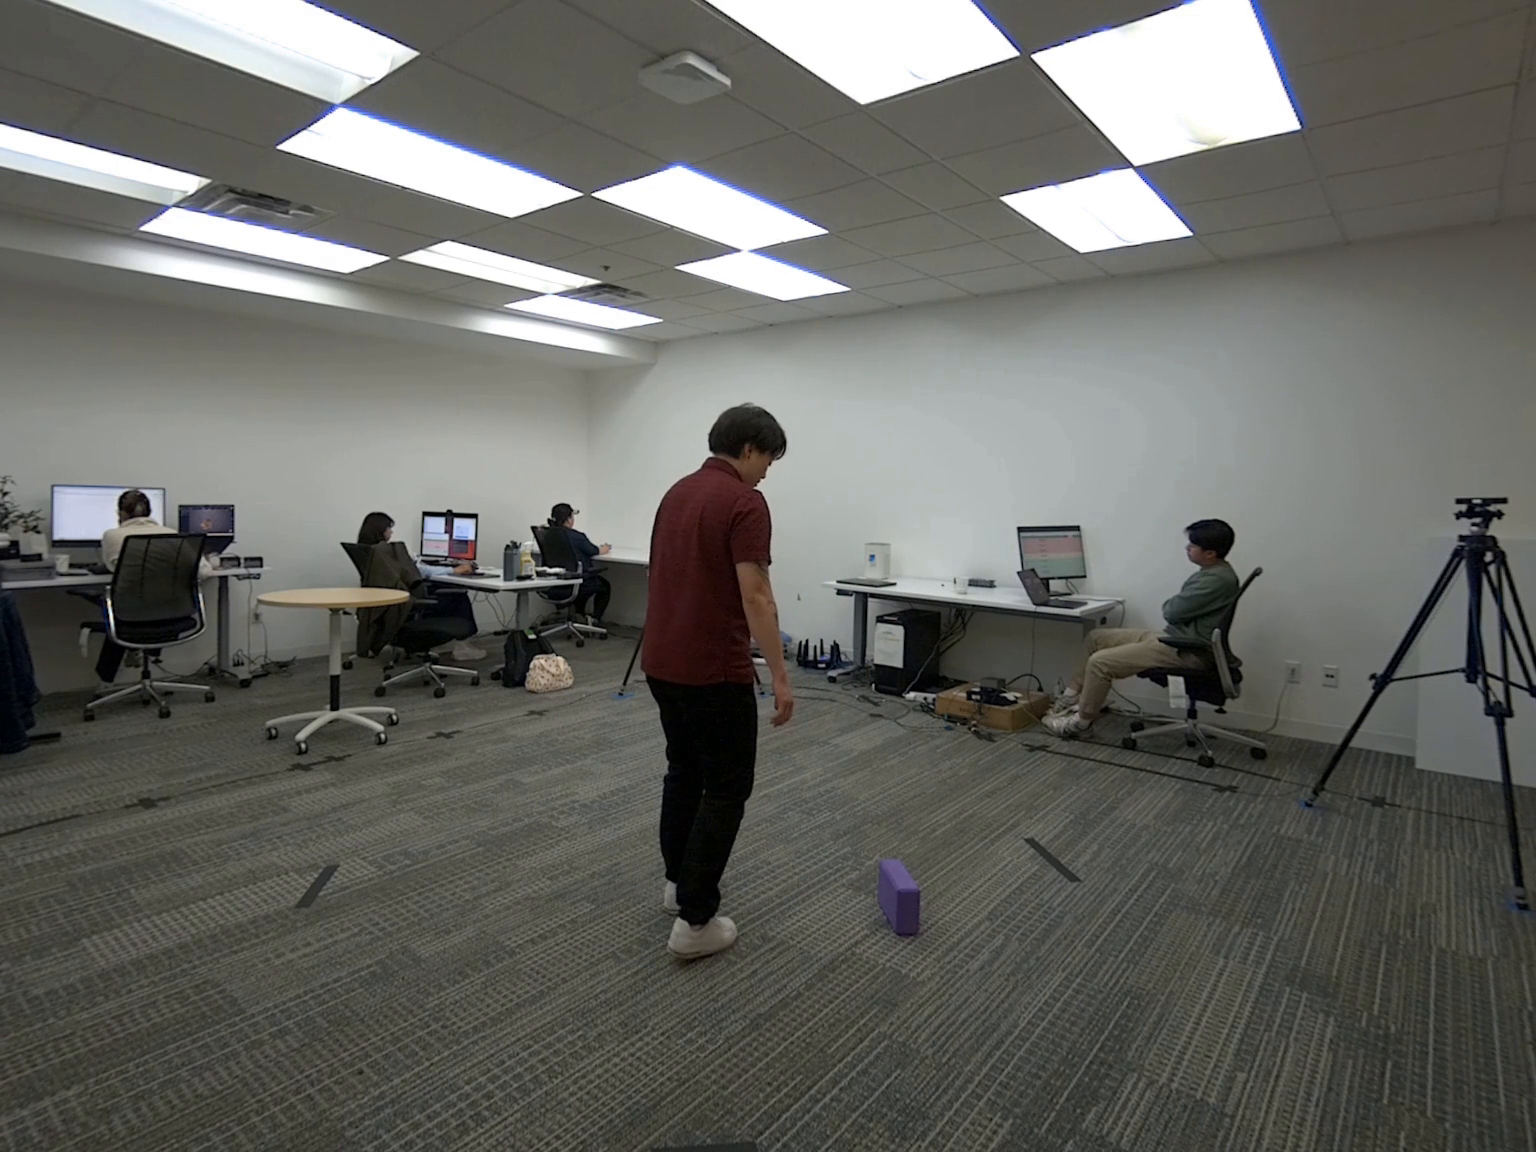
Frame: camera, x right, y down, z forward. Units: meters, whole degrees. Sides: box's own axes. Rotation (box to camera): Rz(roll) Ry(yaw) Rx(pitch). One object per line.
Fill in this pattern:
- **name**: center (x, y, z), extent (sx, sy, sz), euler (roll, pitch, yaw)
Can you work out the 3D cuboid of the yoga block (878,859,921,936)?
- **yoga block**: center (0.419, 1.039, 2.777), extent (0.076, 0.148, 0.232), euler (1, 4, -8)
